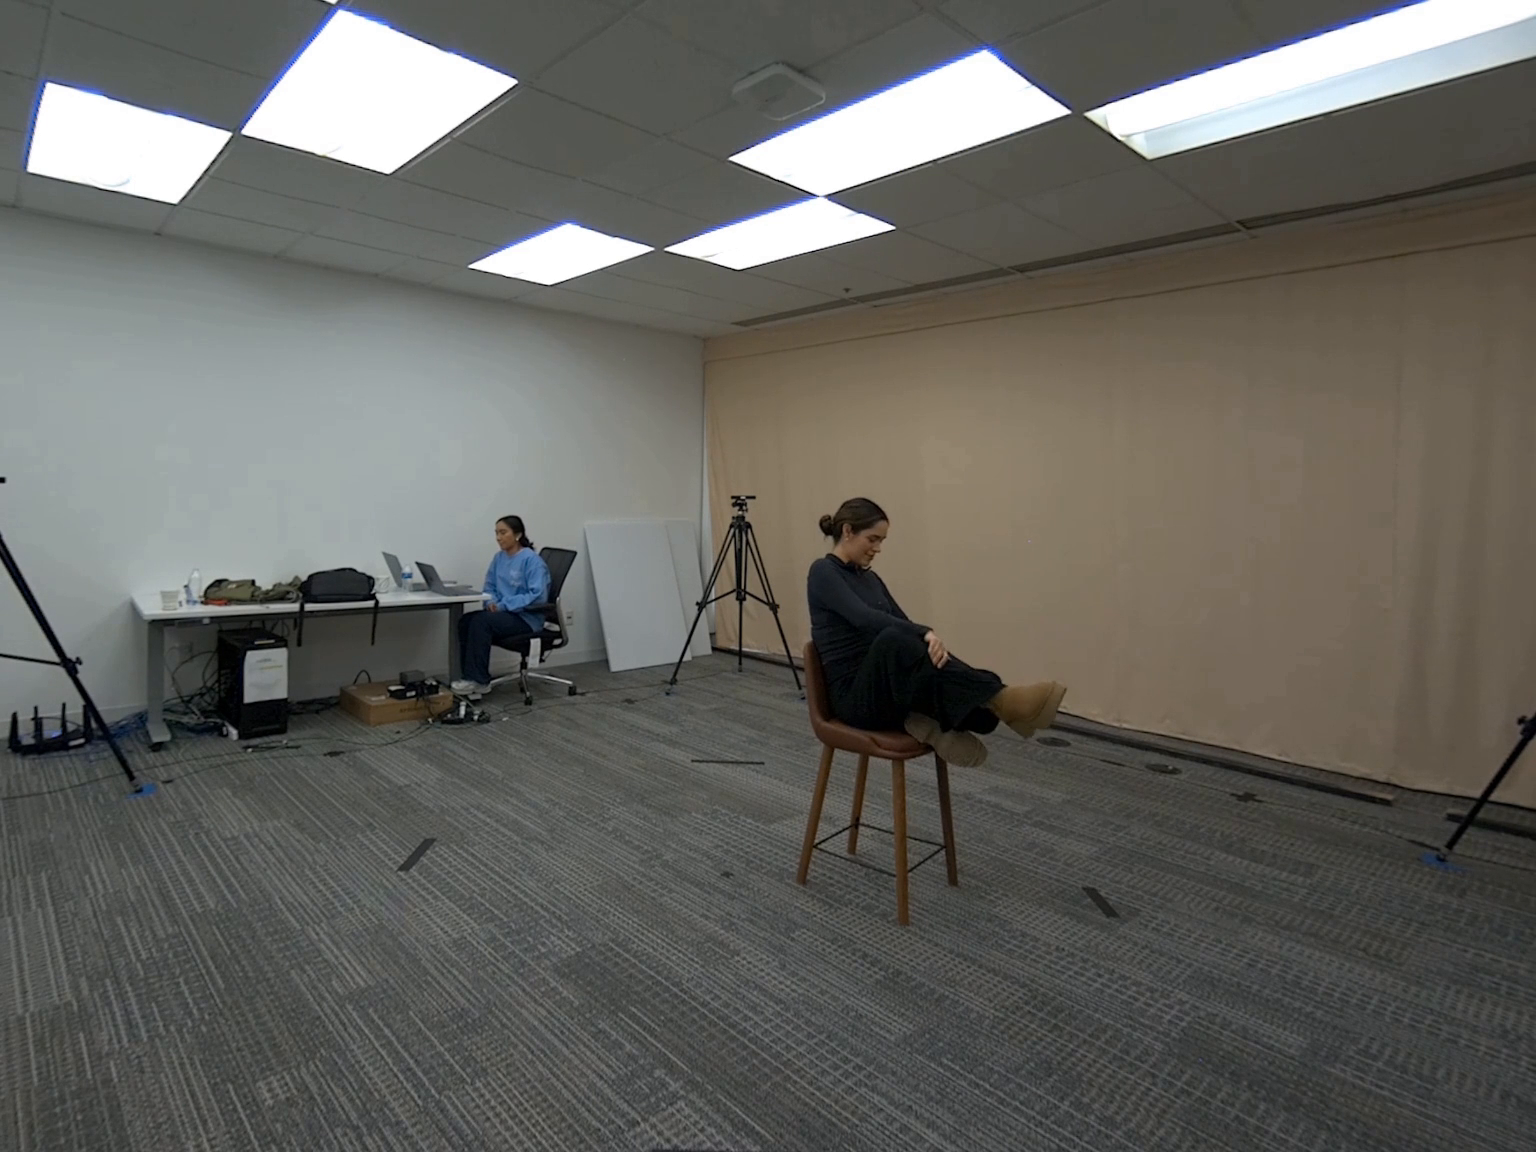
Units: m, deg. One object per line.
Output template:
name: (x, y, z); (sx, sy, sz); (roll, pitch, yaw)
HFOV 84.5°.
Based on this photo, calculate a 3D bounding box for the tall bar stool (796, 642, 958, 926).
tall bar stool: (0.392, 0.687, 3.036); (0.479, 0.889, 0.446); (2, 2, 39)
